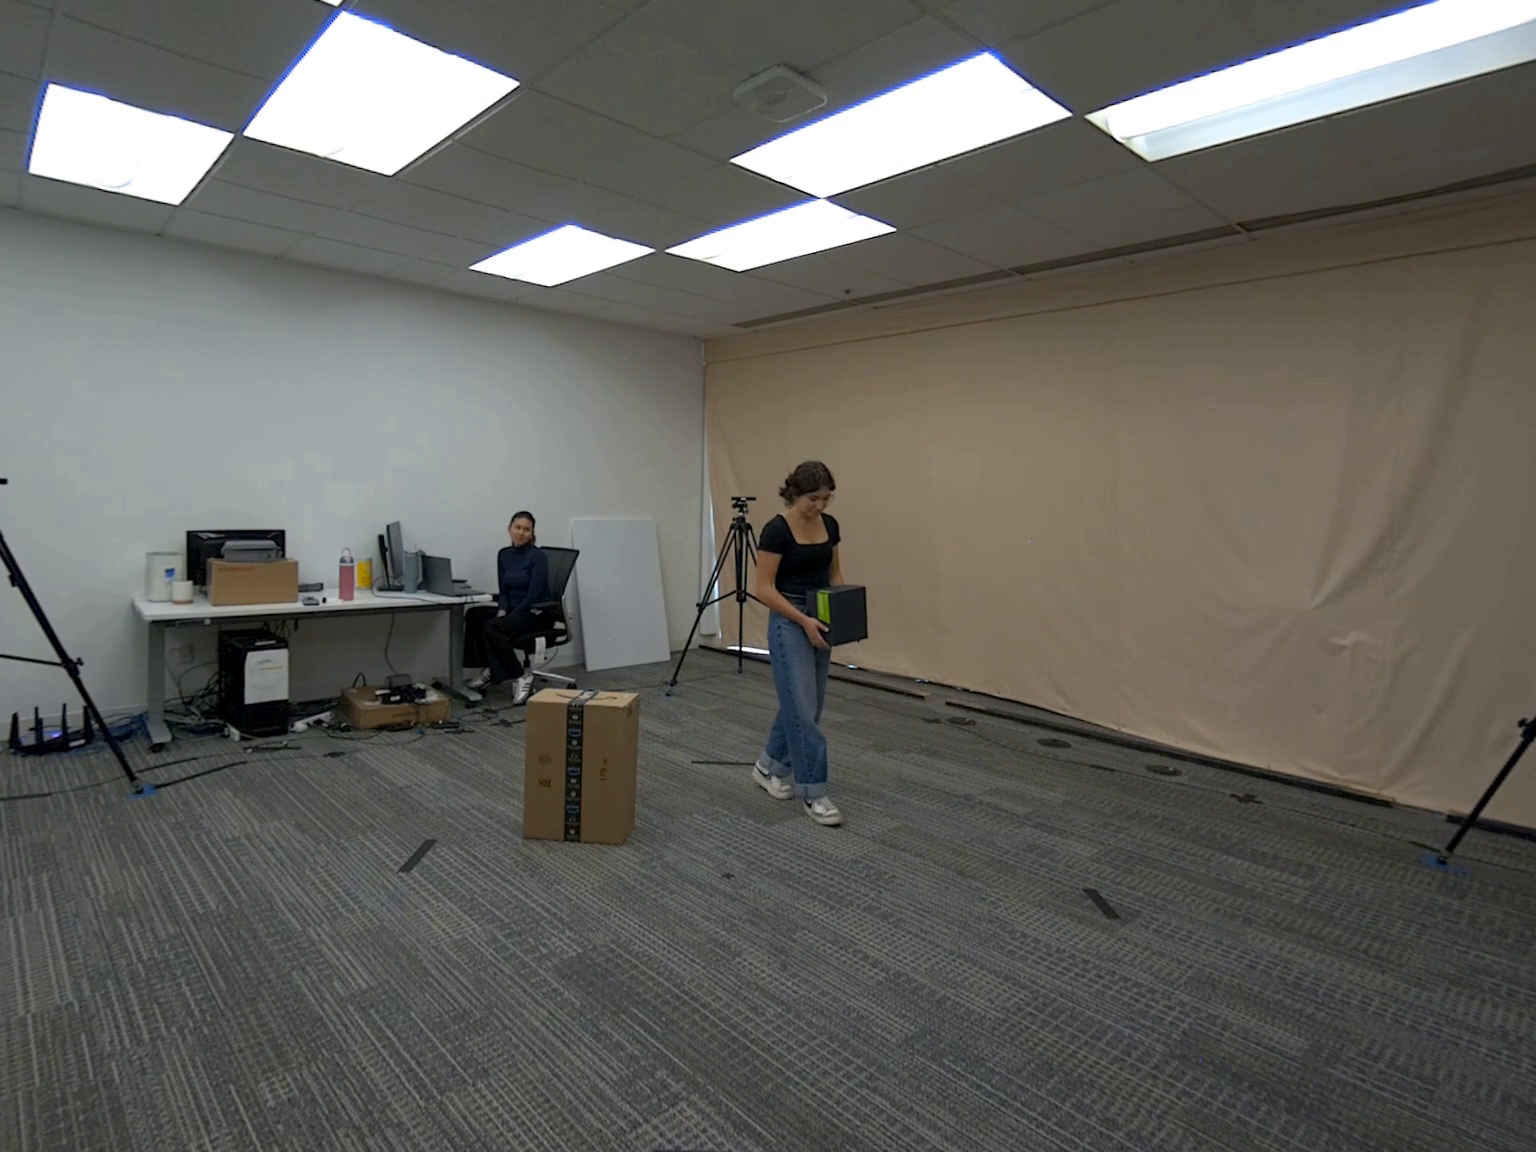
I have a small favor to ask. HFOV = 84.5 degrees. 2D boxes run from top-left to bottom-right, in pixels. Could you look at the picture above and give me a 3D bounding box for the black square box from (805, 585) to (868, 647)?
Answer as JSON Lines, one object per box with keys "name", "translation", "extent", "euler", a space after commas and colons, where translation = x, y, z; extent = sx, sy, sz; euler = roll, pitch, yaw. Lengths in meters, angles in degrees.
{"name": "black square box", "translation": [0.290, 0.161, 3.652], "extent": [0.213, 0.227, 0.160], "euler": [-9, 8, -37]}
